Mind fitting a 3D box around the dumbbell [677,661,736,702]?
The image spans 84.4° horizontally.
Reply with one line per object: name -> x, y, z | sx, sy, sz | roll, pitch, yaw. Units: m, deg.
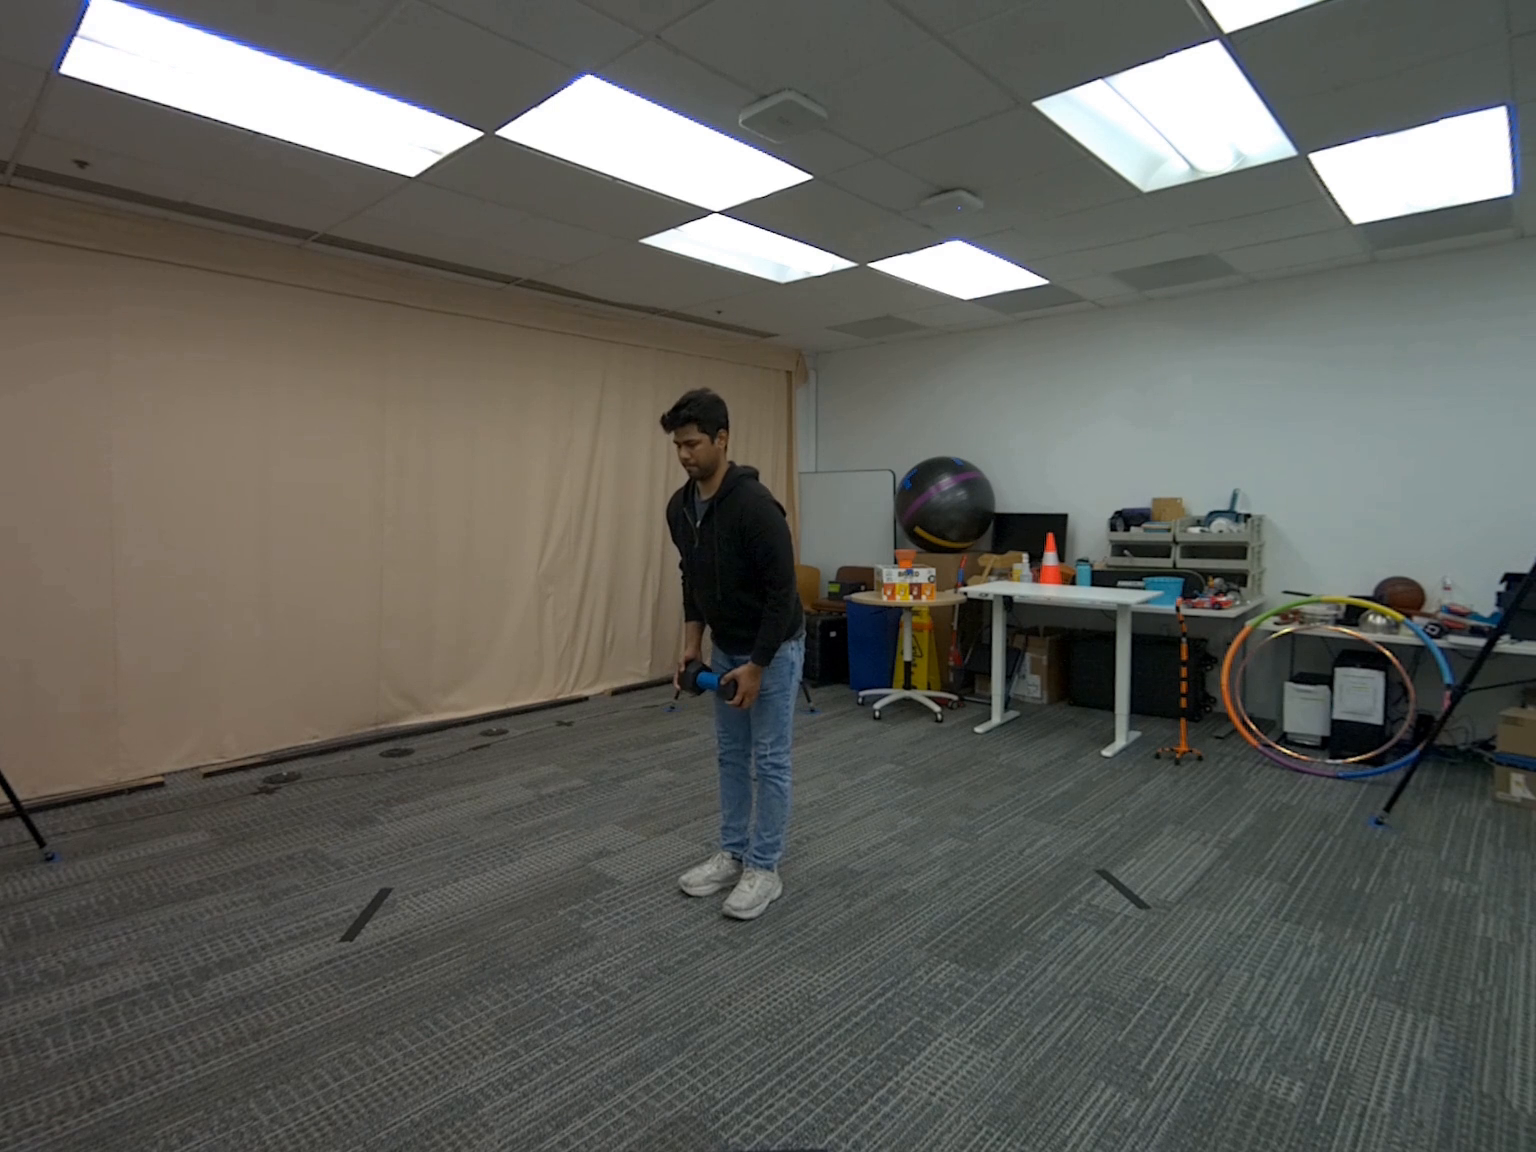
dumbbell -> -0.178, 0.373, 2.916 | 0.303, 0.109, 0.119 | 5, -24, 48
